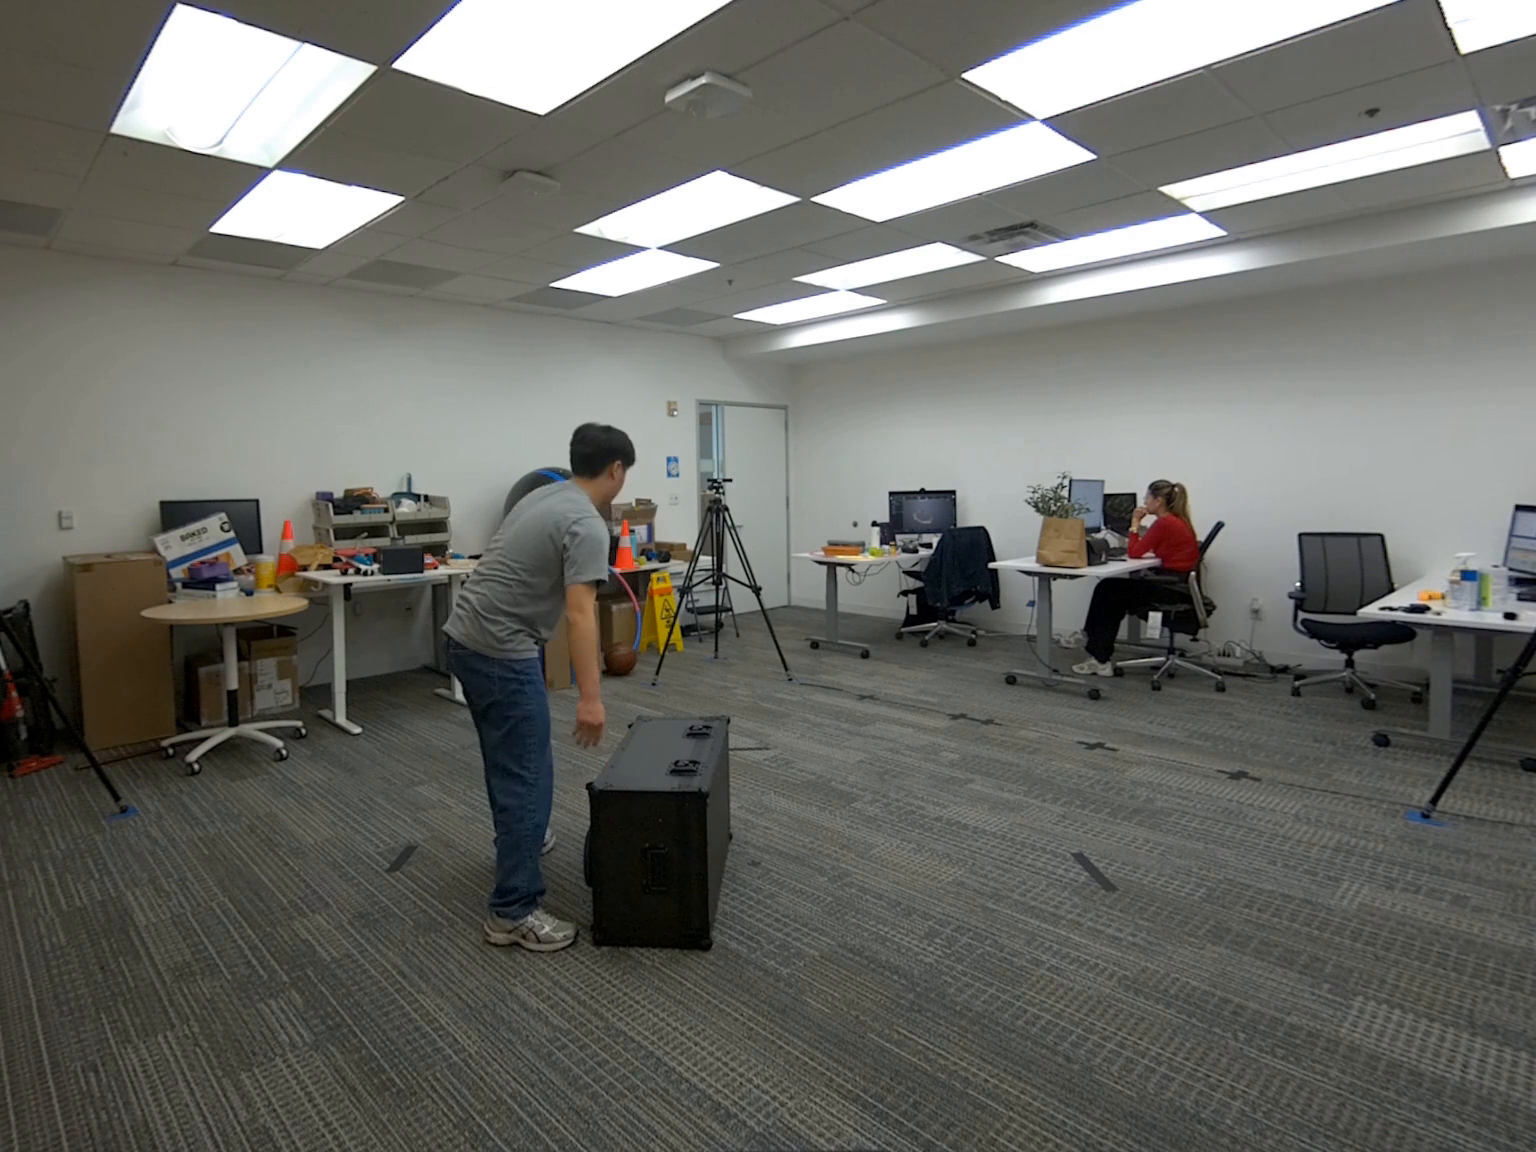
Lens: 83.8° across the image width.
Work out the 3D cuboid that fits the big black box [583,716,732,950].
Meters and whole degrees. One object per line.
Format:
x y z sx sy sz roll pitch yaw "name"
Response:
-0.344 0.825 2.961 0.398 0.519 0.862 0 6 3 "big black box"
